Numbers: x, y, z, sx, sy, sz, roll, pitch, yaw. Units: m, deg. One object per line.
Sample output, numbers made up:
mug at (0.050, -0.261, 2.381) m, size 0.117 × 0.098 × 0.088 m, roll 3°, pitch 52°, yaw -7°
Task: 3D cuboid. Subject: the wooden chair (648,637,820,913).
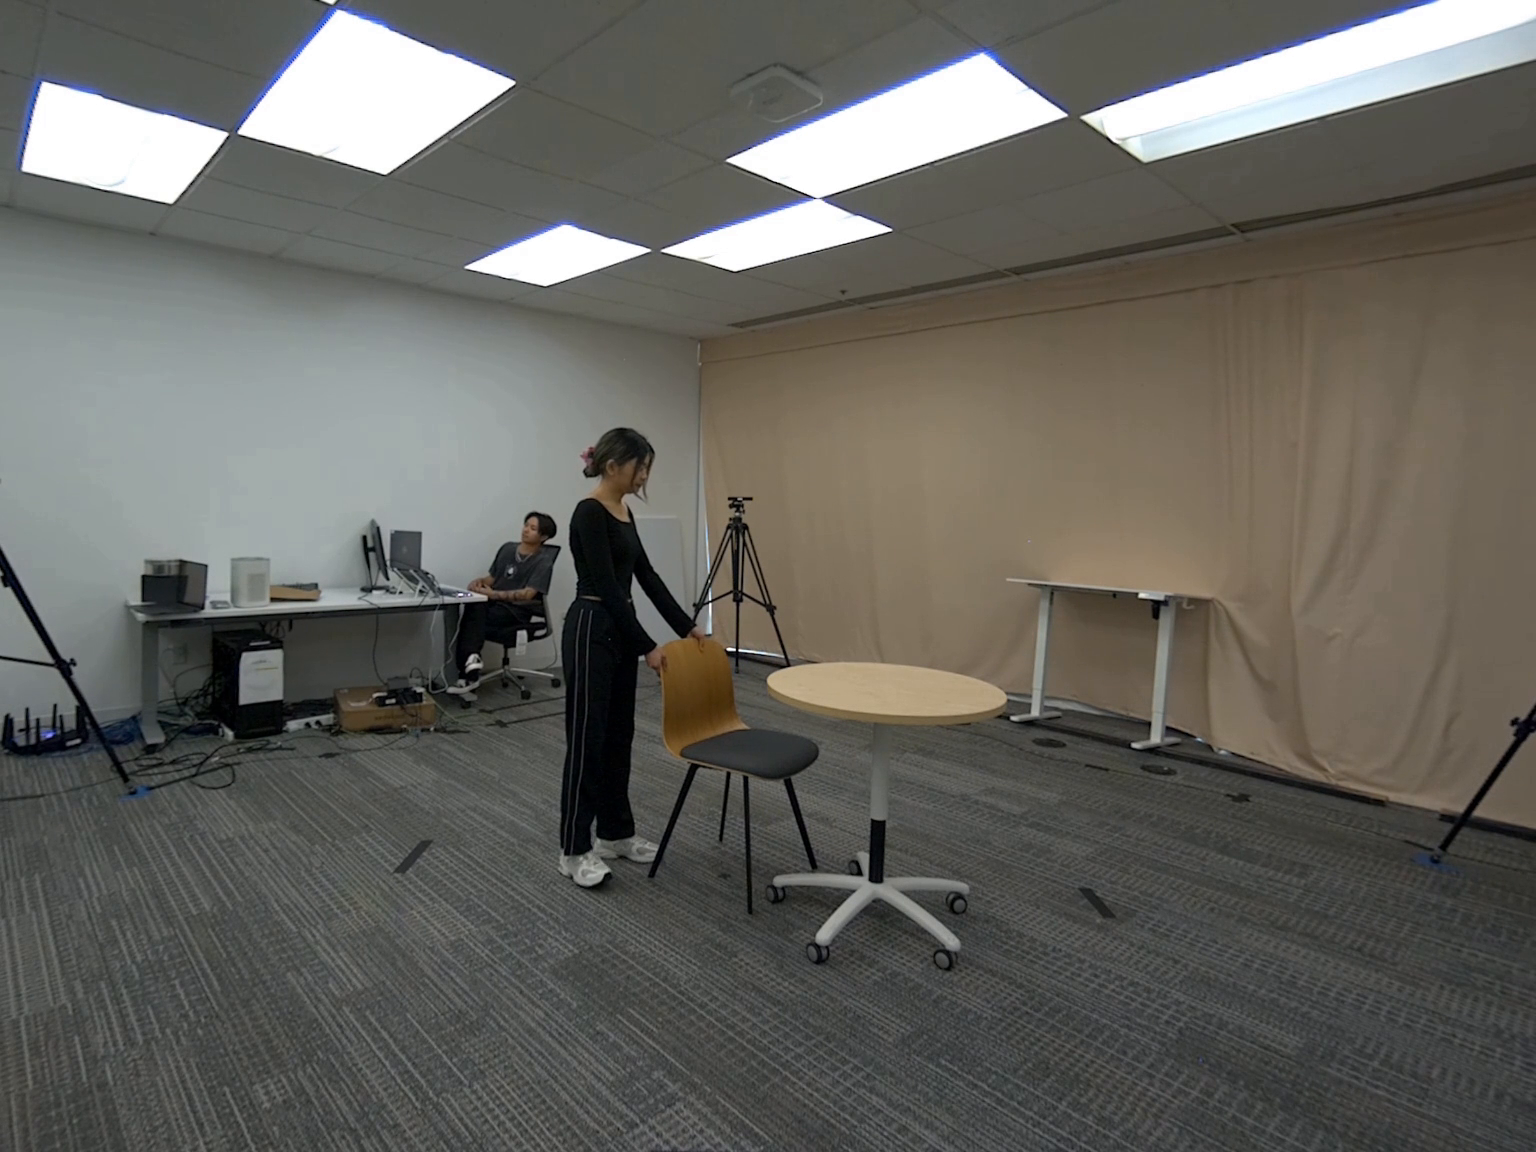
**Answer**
wooden chair at (-0.119, 0.680, 3.095) m, size 0.534 × 0.877 × 0.468 m, roll -2°, pitch 0°, yaw 35°
